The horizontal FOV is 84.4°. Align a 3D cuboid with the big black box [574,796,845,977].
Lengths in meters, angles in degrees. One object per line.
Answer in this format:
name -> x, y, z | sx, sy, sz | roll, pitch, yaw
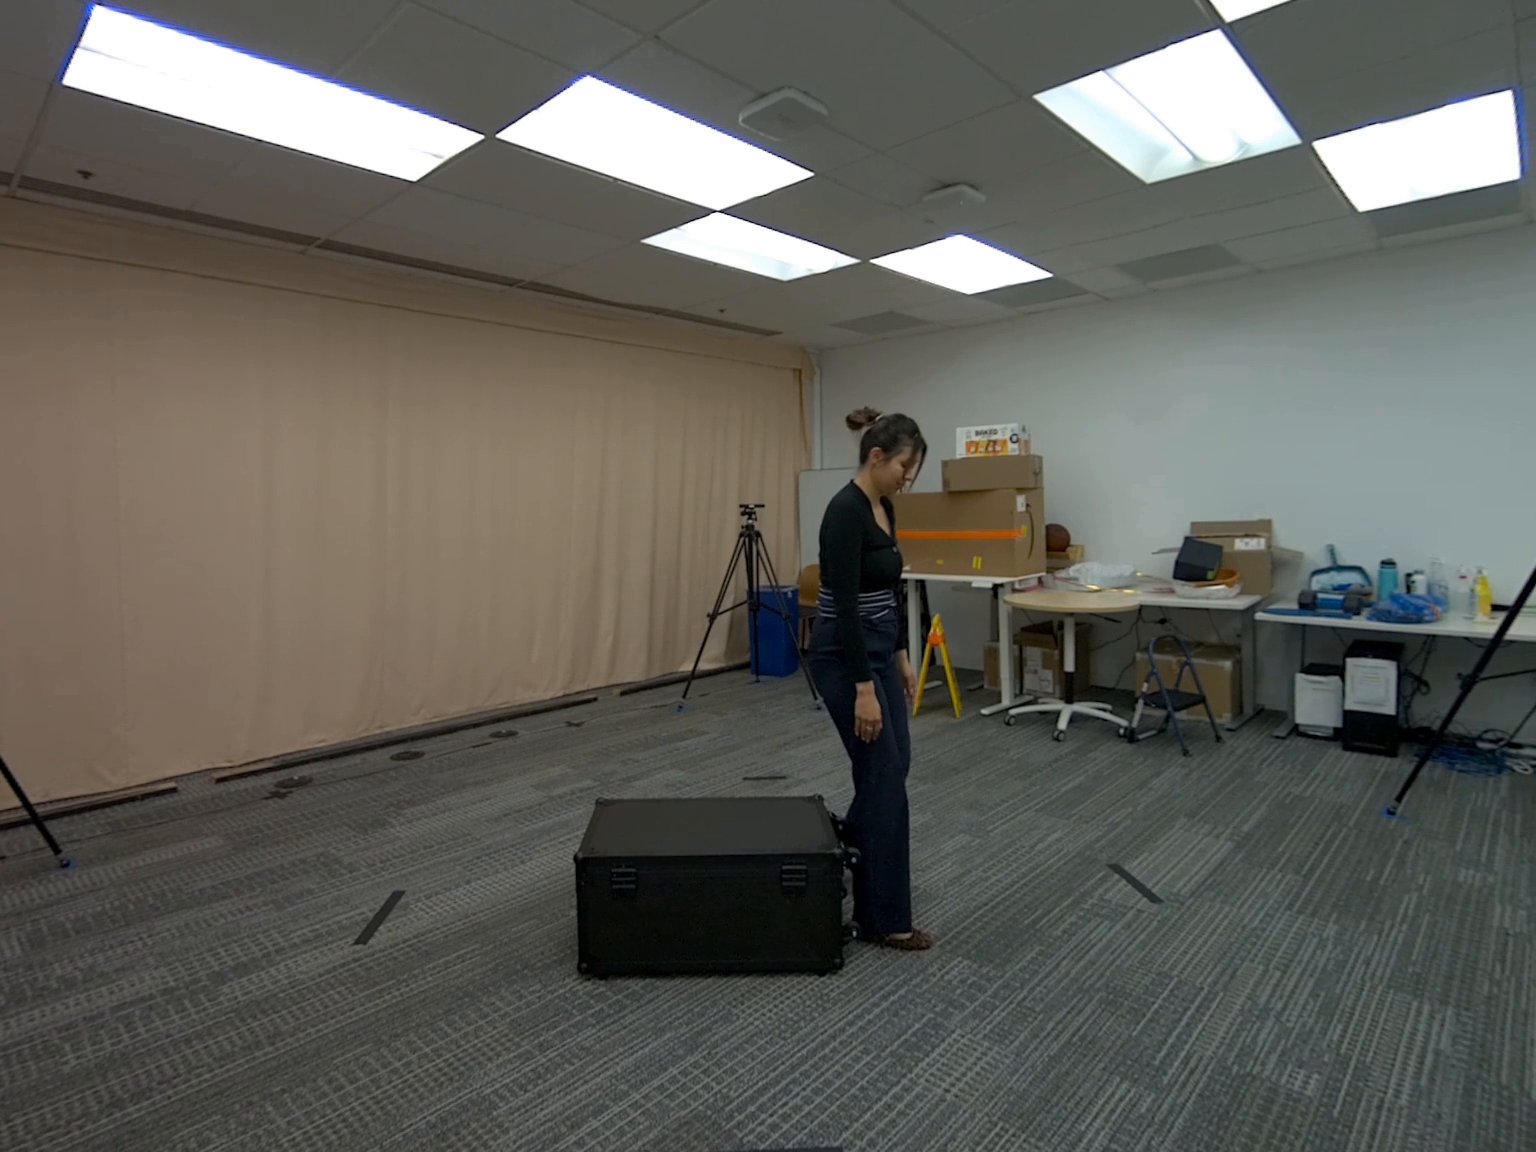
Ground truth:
big black box -> -0.154, 0.971, 2.694 | 0.861, 0.395, 0.523 | -1, 4, -1
